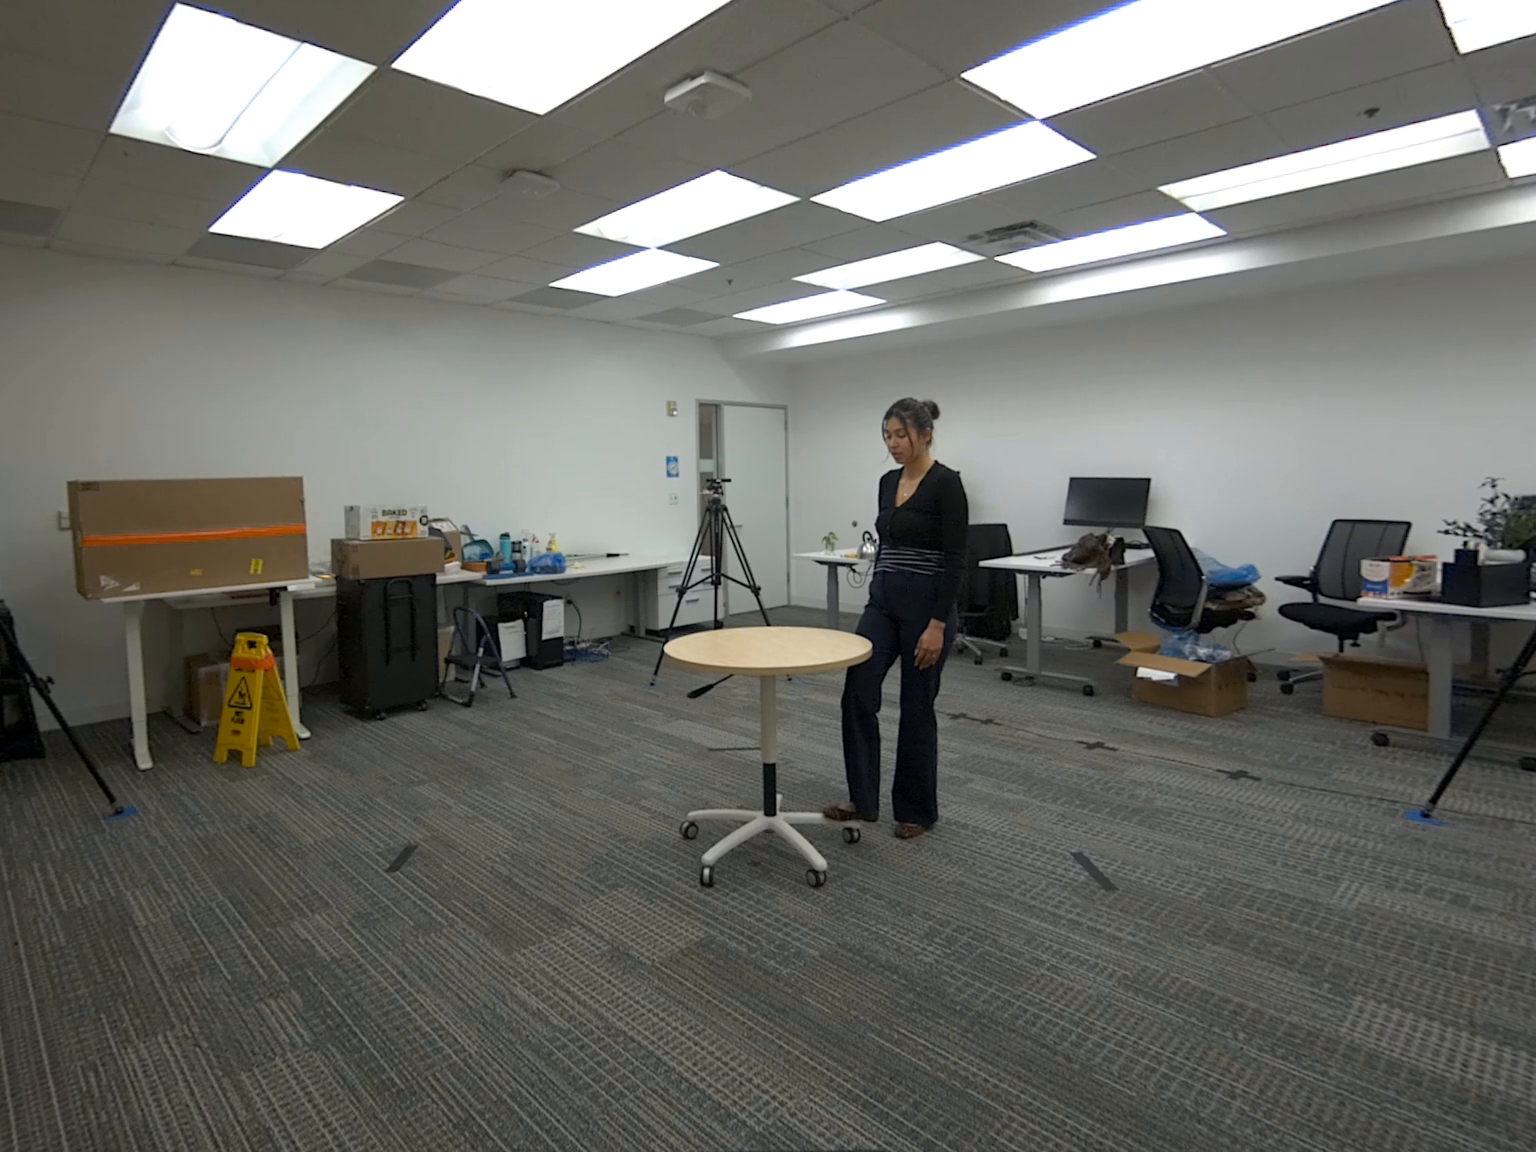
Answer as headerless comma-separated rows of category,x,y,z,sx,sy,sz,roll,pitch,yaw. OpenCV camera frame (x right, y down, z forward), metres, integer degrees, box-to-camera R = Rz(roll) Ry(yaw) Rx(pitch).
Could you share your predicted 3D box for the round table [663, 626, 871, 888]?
round table,0.006,0.647,3.175,0.763,0.791,0.768,-1,5,-2
